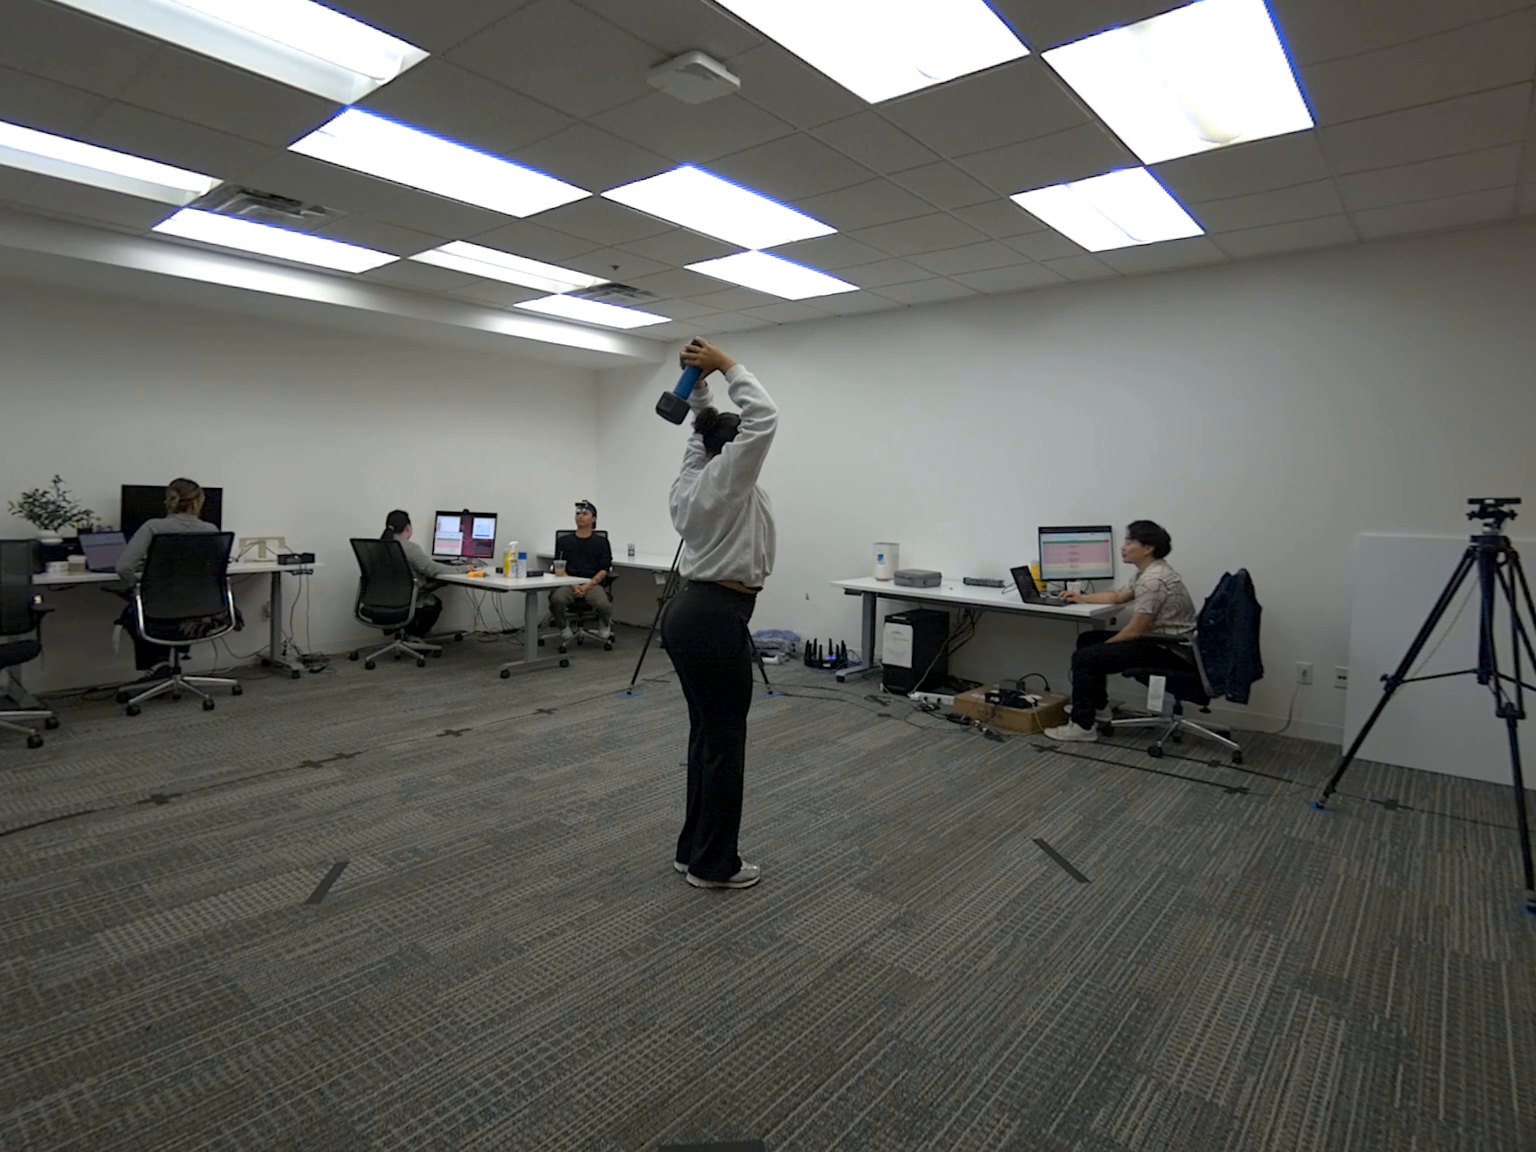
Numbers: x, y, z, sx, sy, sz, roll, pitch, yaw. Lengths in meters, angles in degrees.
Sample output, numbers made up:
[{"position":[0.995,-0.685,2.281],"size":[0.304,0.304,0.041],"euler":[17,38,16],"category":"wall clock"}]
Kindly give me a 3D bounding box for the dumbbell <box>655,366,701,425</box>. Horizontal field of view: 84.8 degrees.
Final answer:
[{"position":[-0.291,-0.674,2.967],"size":[0.127,0.294,0.105],"euler":[28,-3,22],"category":"dumbbell"}]
